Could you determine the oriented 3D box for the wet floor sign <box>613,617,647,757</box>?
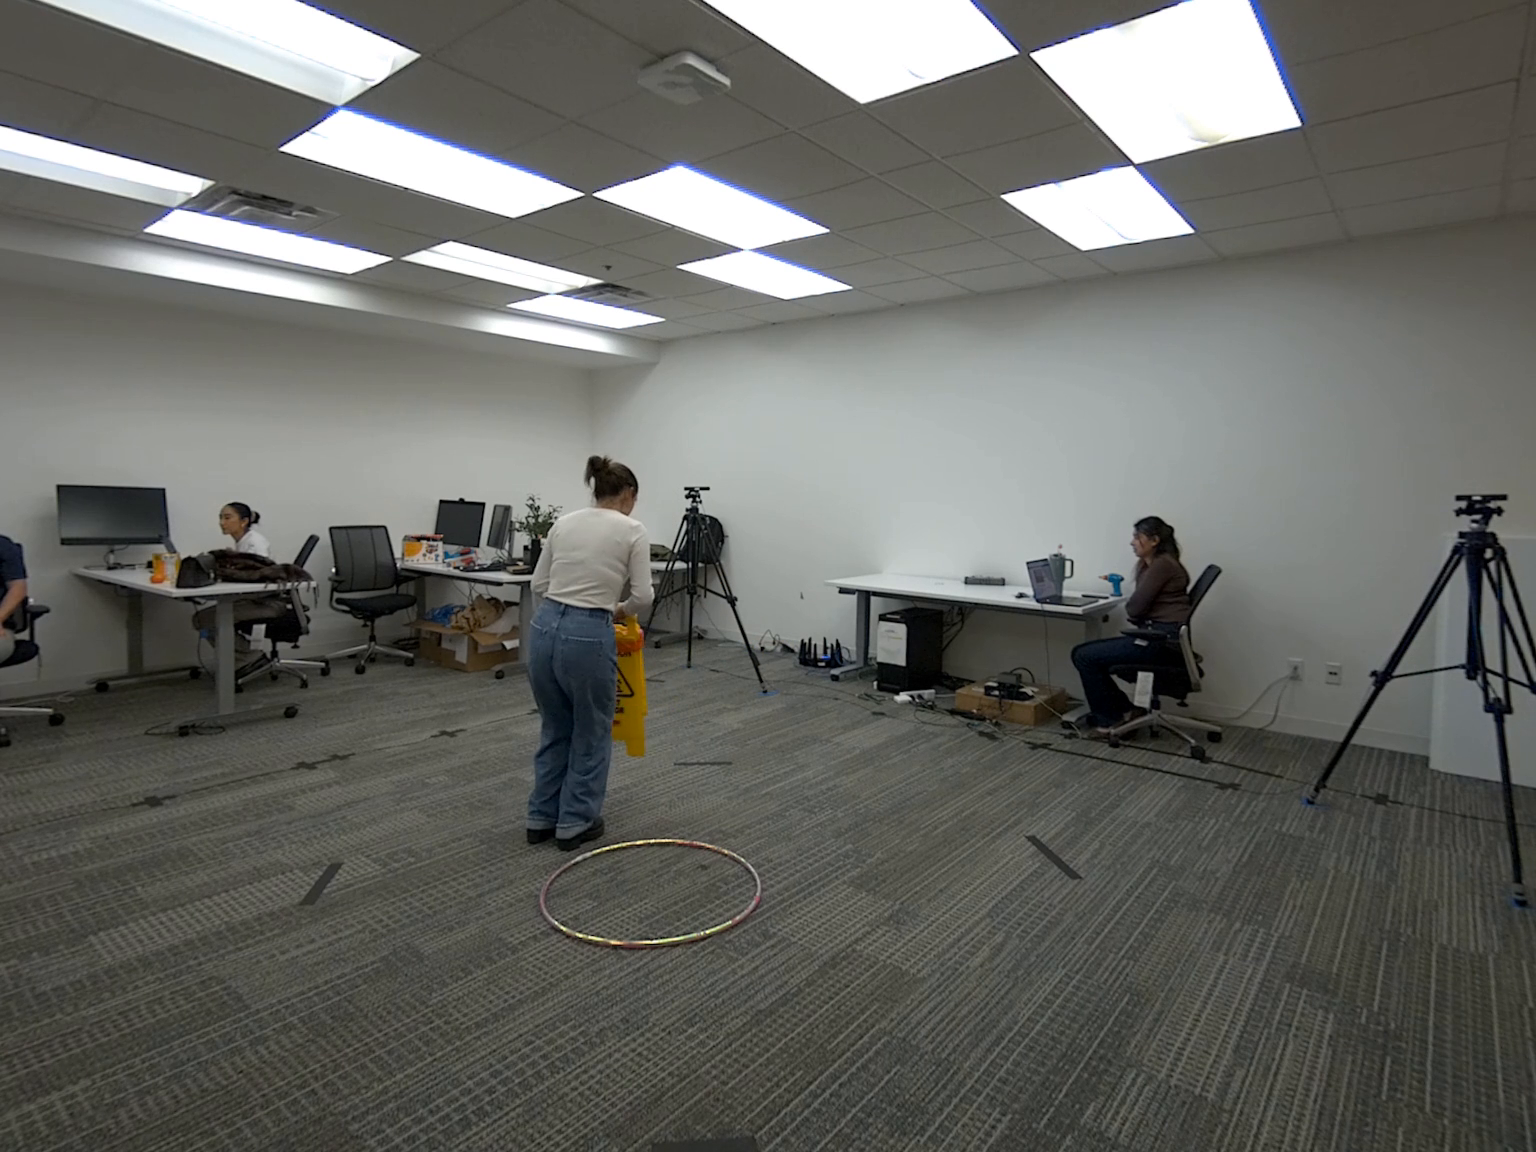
[{"bbox_3d":[-0.651,0.397,3.589,0.280,0.632,0.298,3,28,-7],"label":"wet floor sign"}]
